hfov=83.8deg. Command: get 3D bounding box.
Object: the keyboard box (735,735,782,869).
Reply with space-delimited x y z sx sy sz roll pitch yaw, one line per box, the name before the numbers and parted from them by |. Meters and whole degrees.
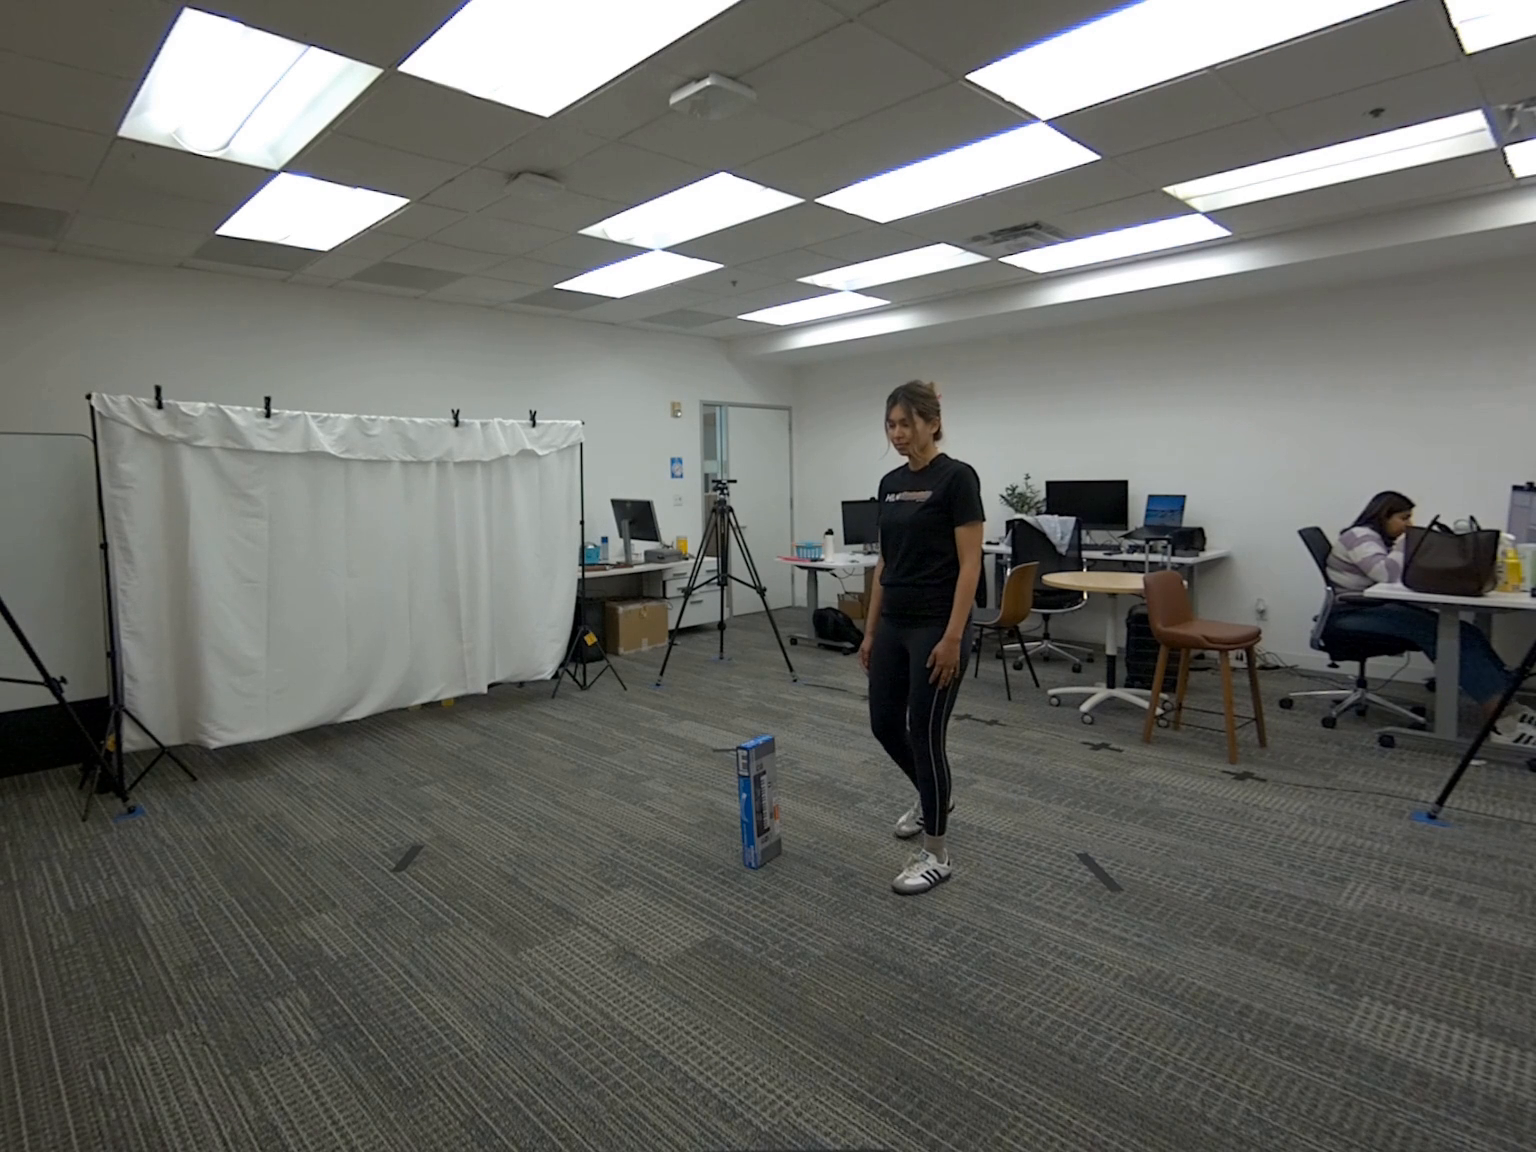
keyboard box | -0.030 0.825 3.140 0.060 0.436 0.172 -3 2 34
